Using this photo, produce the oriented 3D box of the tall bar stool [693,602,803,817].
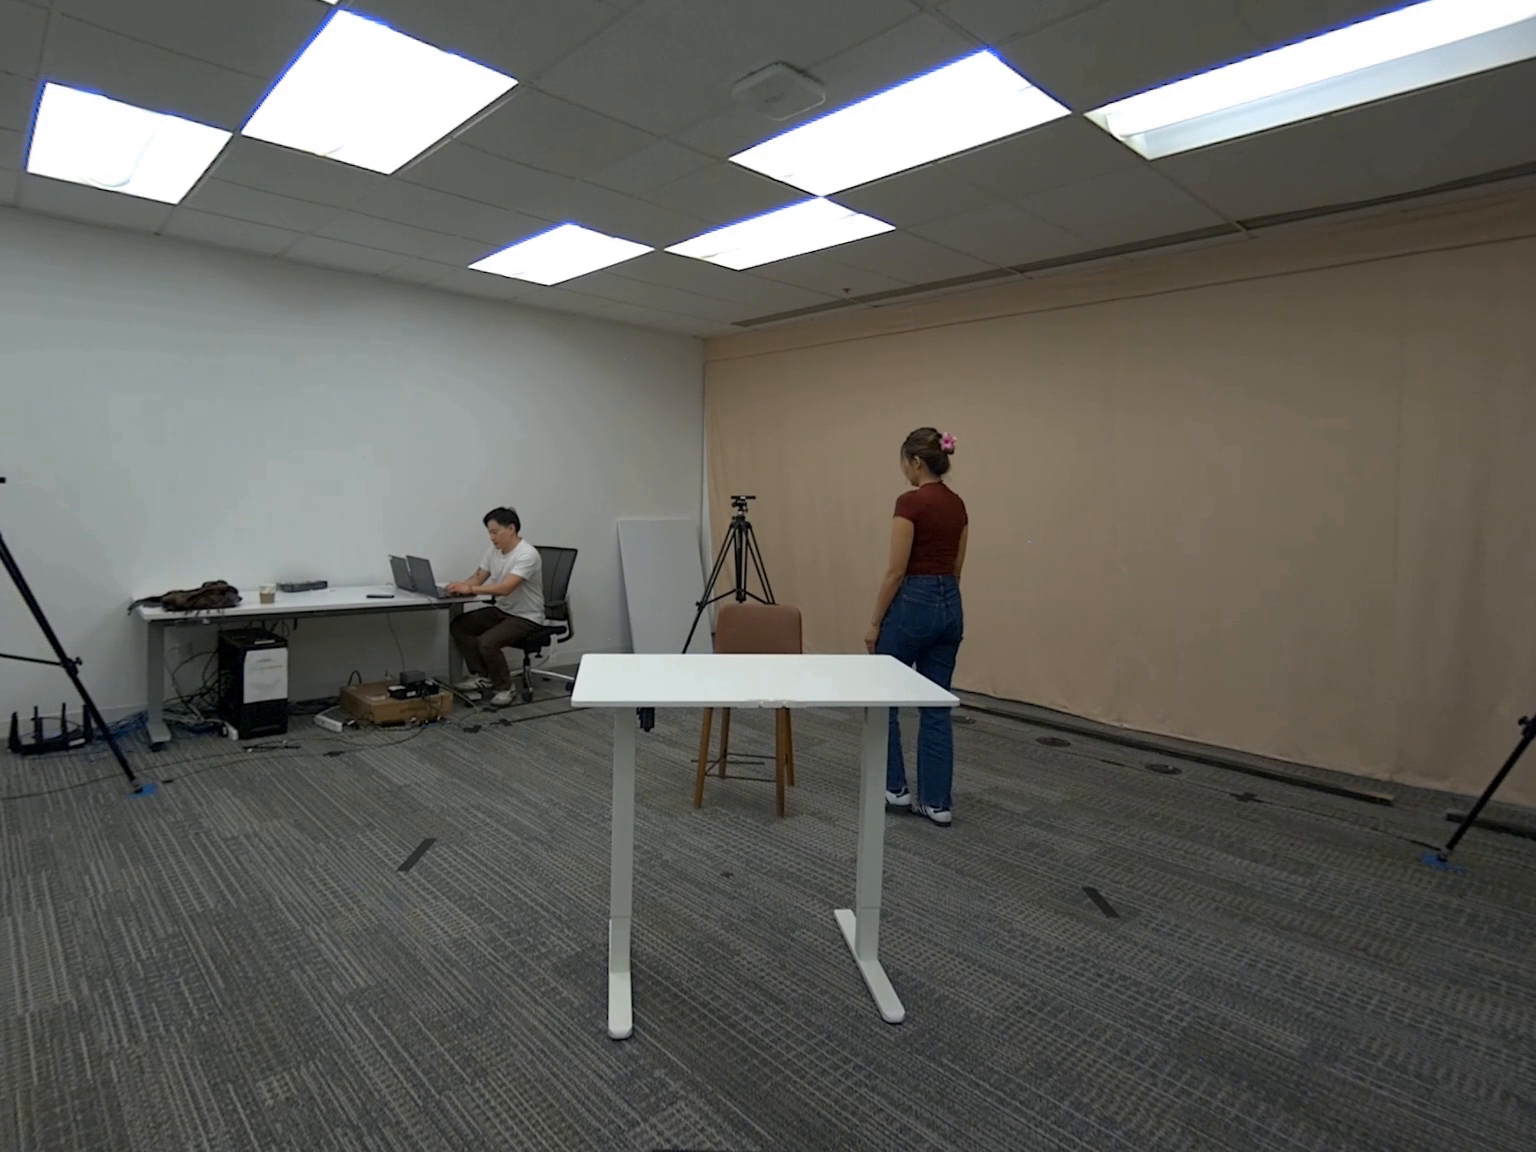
[{"bbox_3d":[-0.088,0.602,3.924,0.461,0.888,0.463,2,2,12],"label":"tall bar stool"}]
